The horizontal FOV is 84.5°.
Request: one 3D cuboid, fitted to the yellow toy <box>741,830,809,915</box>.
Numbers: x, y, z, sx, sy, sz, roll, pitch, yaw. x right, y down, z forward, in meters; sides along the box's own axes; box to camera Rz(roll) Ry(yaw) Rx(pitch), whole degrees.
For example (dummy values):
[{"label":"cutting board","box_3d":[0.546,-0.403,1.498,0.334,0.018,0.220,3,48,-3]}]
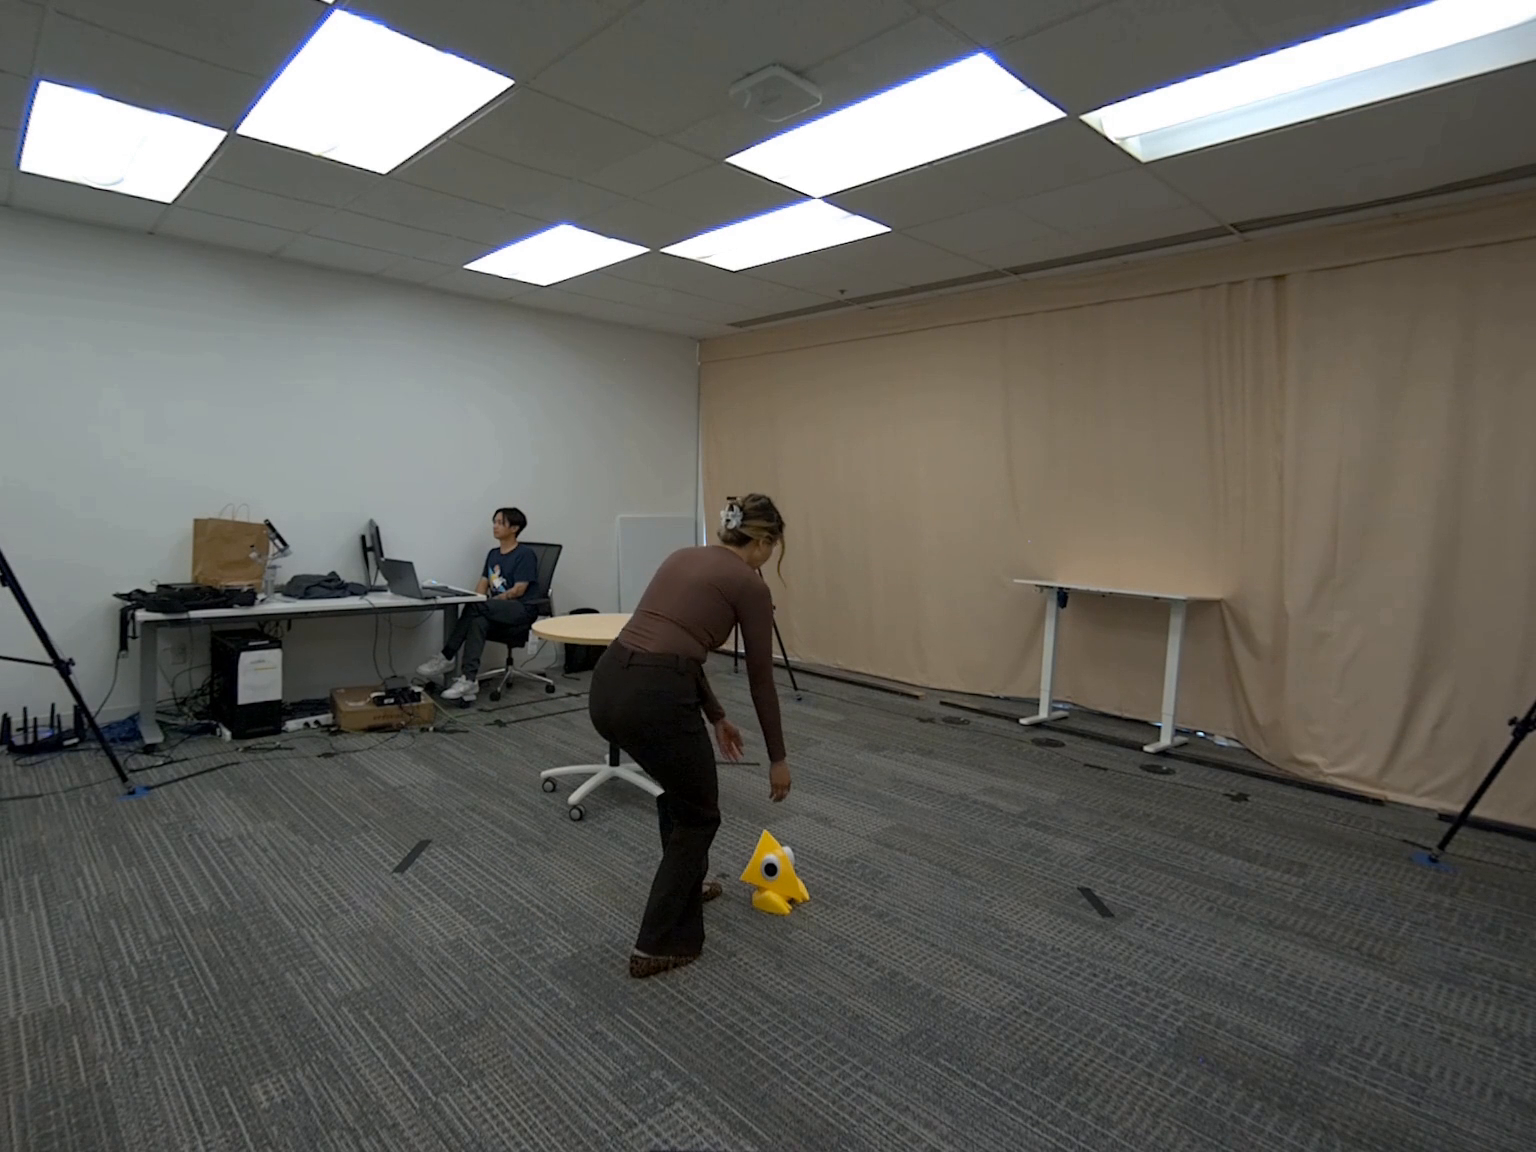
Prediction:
[{"label":"yellow toy","box_3d":[0.028,1.016,2.924,0.198,0.230,0.200,4,5,36]}]
